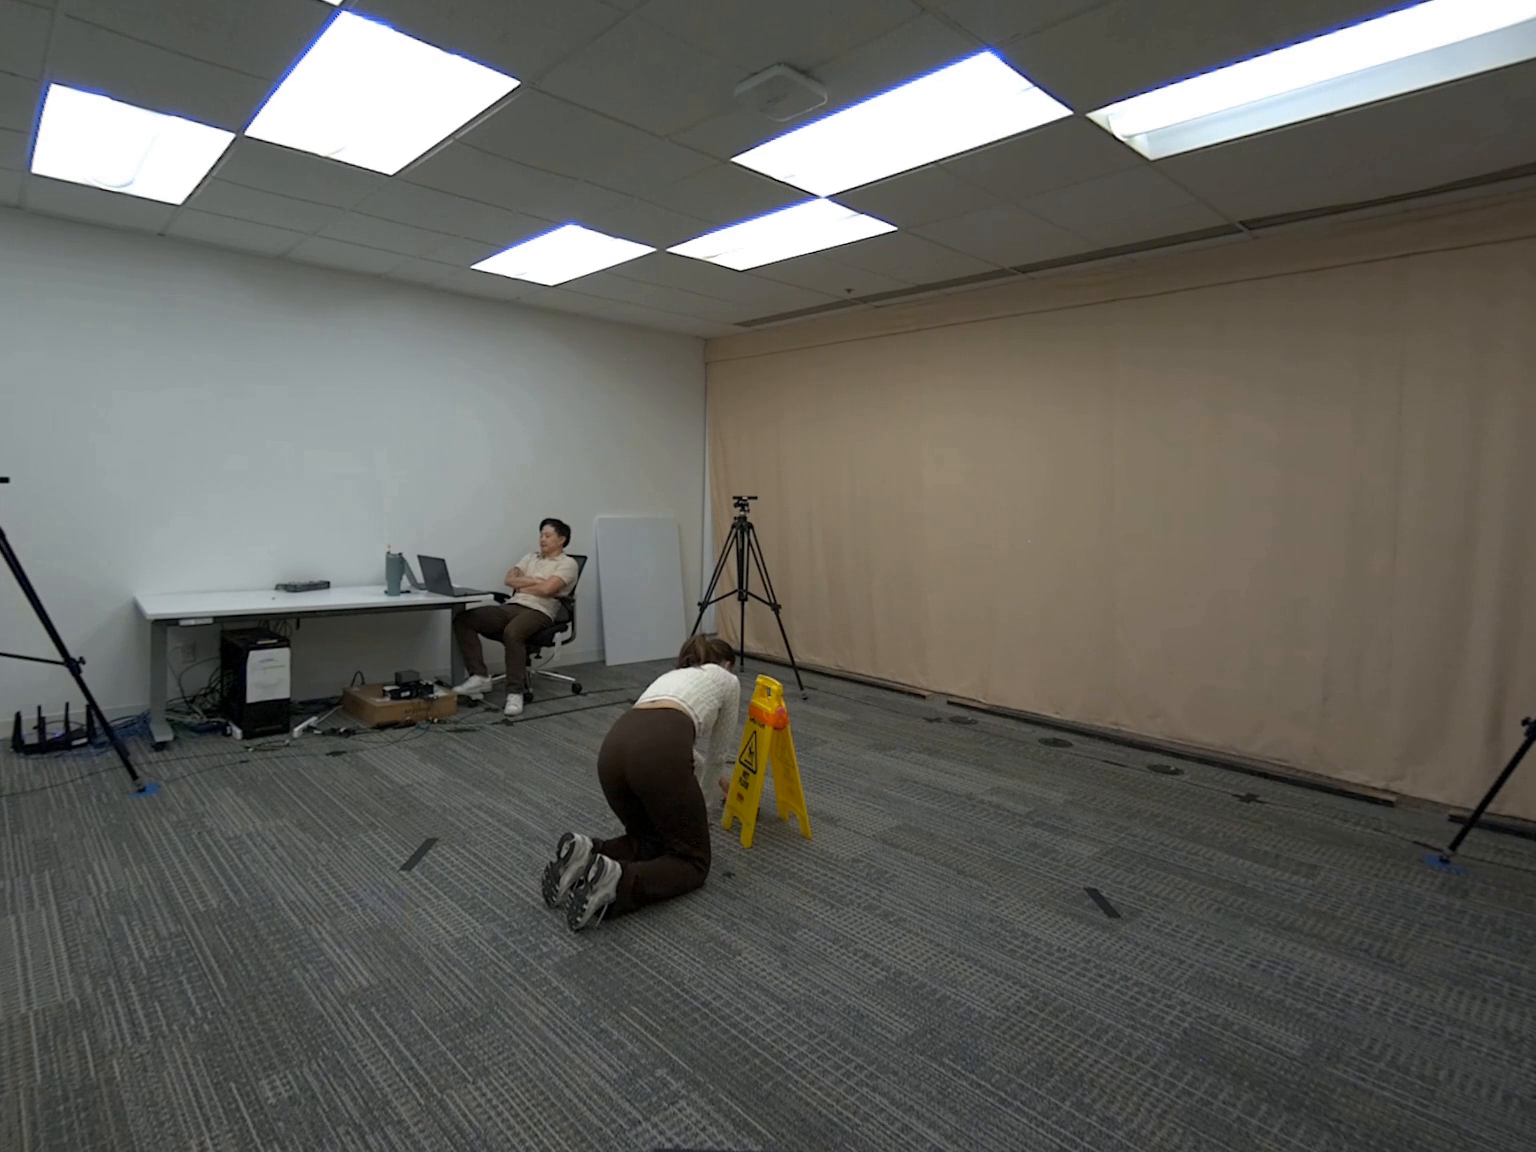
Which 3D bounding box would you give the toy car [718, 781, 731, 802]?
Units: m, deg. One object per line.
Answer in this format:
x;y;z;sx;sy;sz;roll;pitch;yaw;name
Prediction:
-0.121;1.016;3.761;0.128;0.083;0.257;3;-6;-21;toy car
